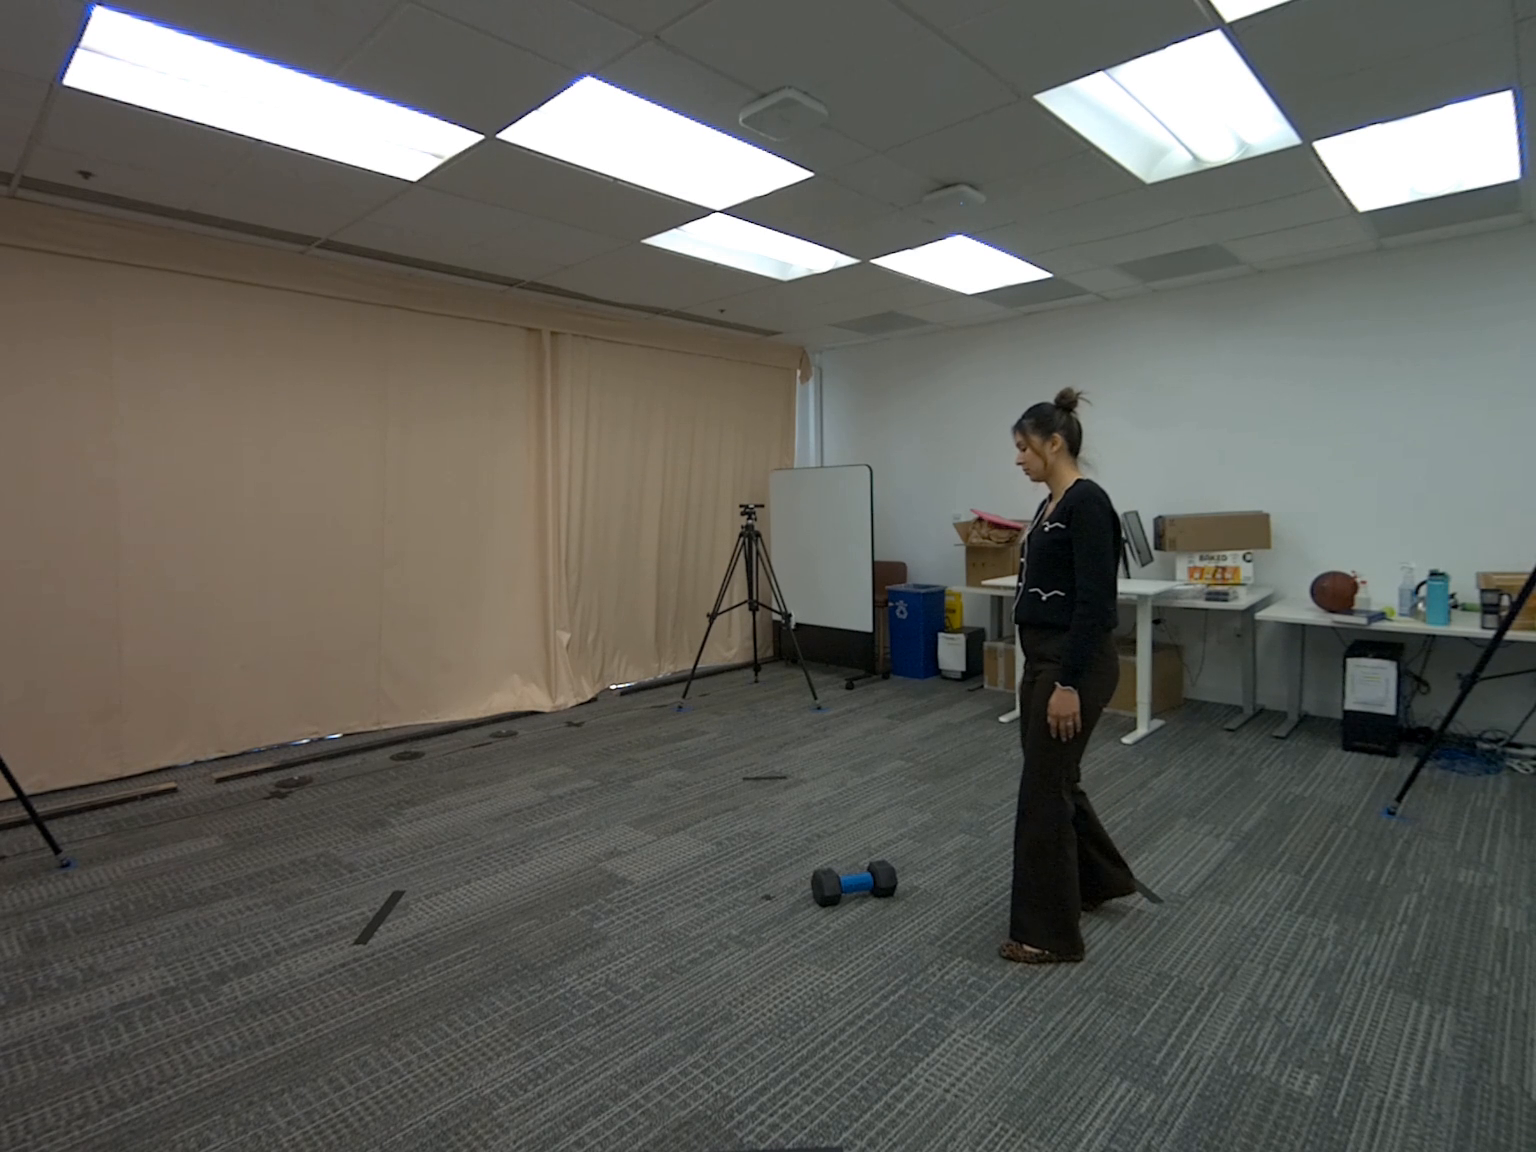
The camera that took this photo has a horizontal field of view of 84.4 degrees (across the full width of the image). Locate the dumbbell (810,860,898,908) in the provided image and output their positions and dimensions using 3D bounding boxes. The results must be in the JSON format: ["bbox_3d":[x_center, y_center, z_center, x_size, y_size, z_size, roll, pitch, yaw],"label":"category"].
[{"bbox_3d":[0.307,1.084,2.962,0.289,0.125,0.108,-2,-26,-15],"label":"dumbbell"}]
